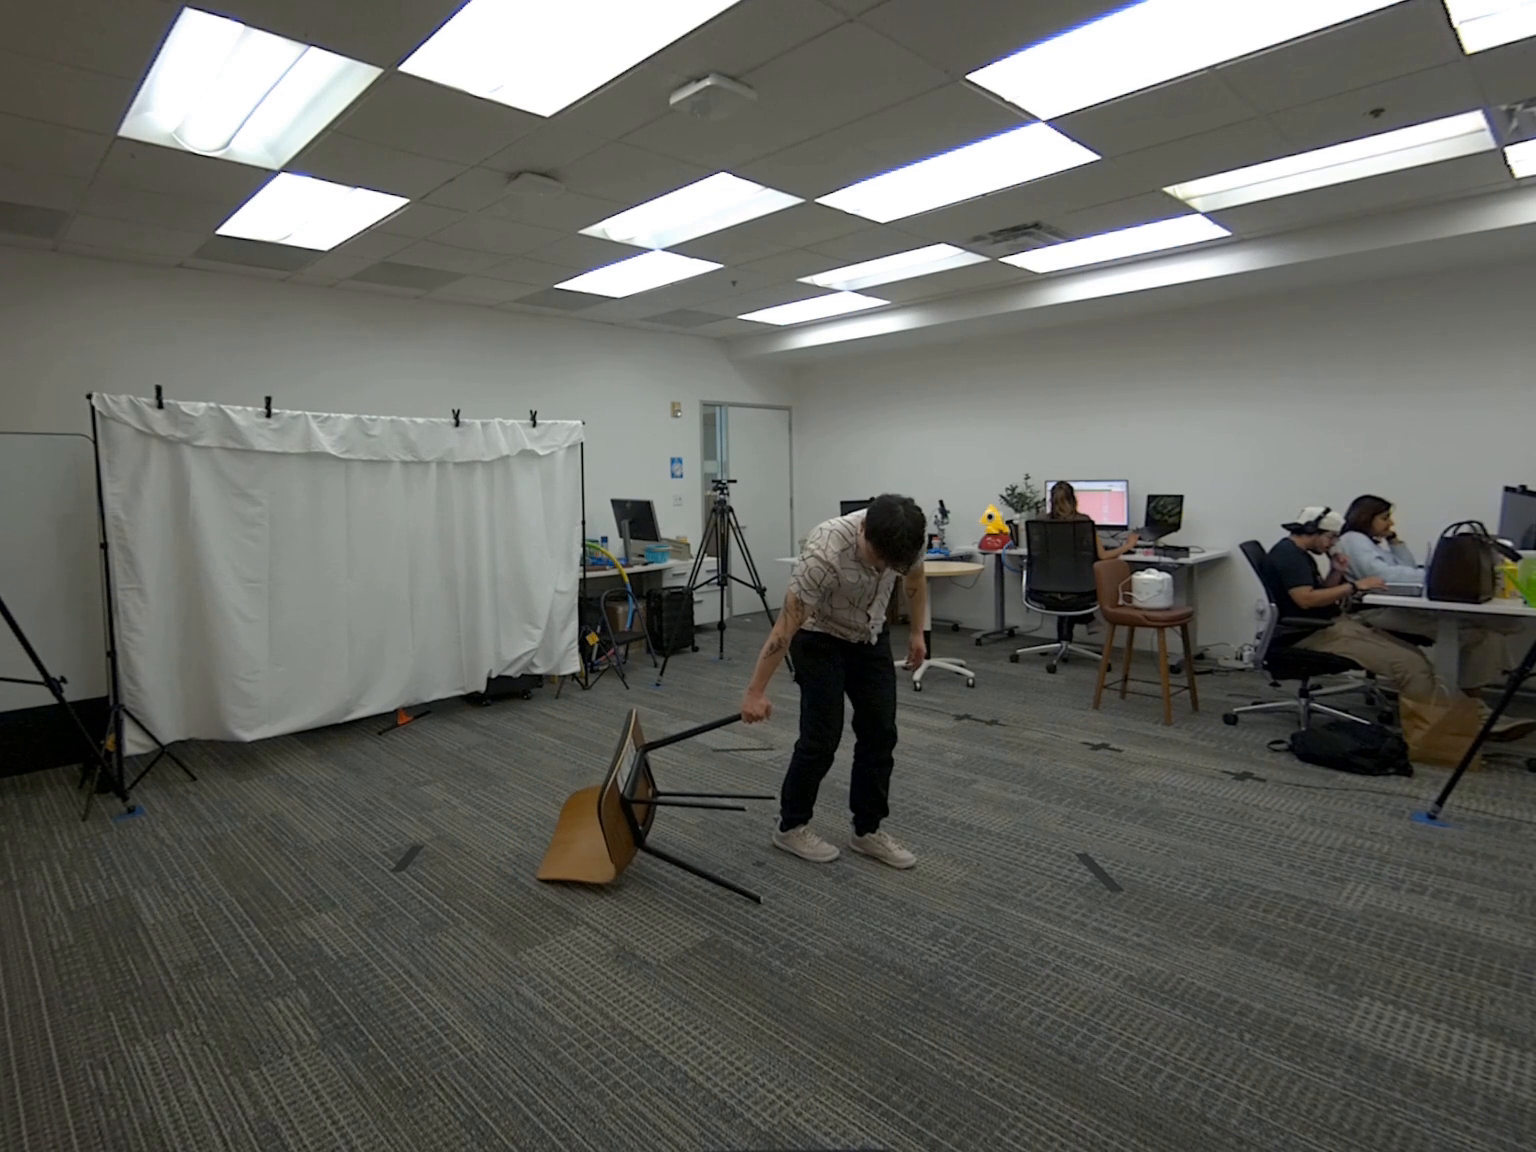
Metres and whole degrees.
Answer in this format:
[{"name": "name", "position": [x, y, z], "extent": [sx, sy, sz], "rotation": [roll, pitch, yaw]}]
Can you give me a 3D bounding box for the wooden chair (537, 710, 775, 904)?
[{"name": "wooden chair", "position": [-0.440, 0.779, 2.967], "extent": [0.888, 0.508, 0.486], "rotation": [-5, 31, 13]}]
